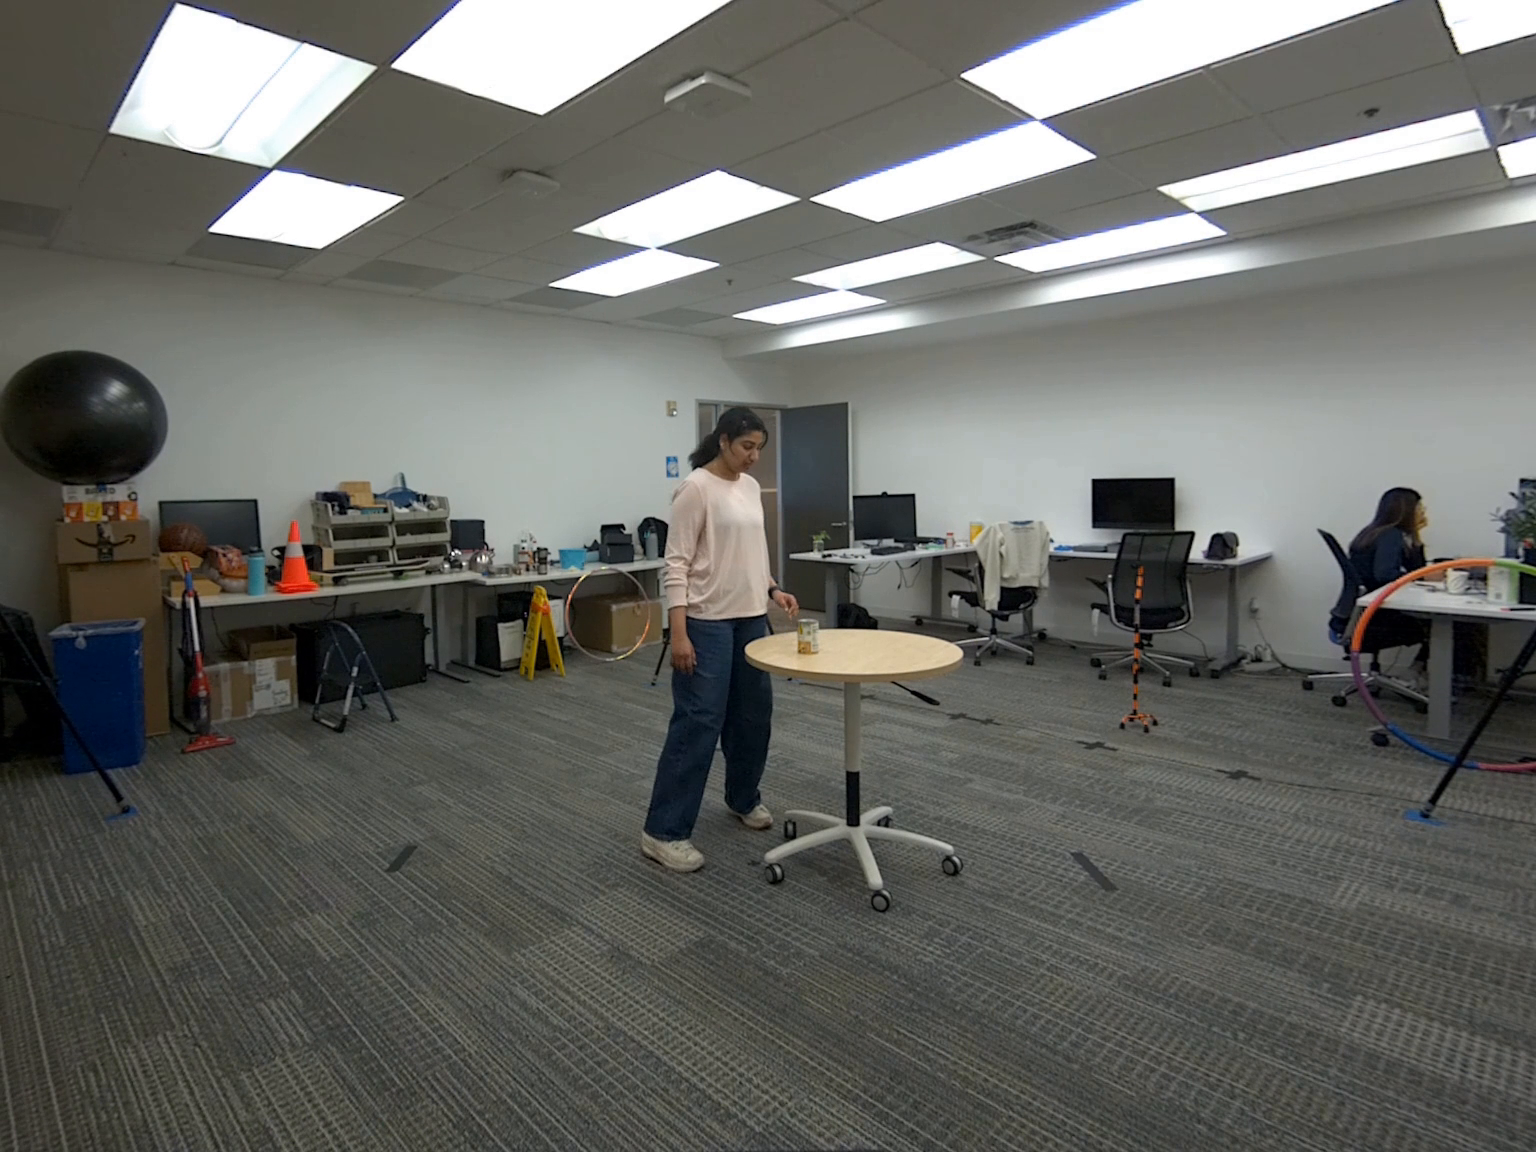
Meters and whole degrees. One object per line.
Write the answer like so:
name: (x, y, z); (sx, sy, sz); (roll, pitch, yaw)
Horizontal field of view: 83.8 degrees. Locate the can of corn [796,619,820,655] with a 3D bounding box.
can of corn: (0.145, 0.215, 2.998); (0.074, 0.110, 0.074); (-2, 5, -2)
